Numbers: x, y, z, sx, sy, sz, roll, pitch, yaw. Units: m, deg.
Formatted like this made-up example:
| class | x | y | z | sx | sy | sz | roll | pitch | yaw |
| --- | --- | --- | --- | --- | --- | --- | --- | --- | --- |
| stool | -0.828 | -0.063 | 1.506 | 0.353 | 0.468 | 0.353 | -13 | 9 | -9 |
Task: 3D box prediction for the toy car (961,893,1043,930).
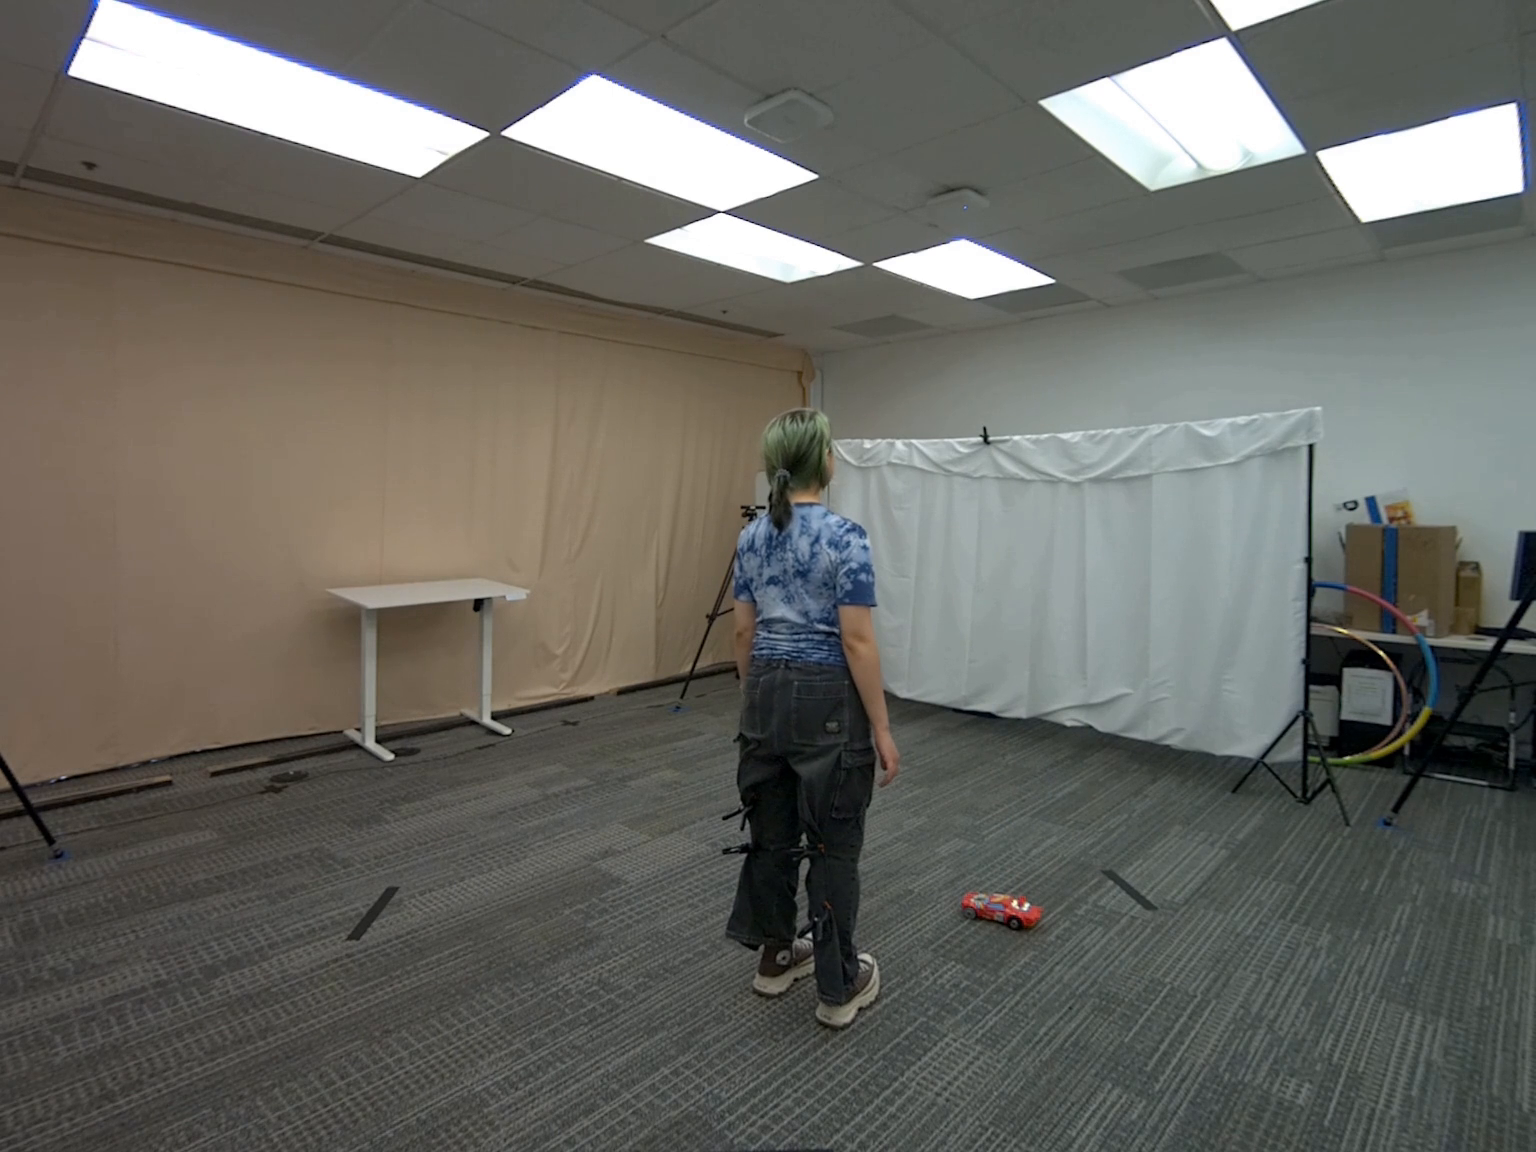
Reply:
| class | x | y | z | sx | sy | sz | roll | pitch | yaw |
| --- | --- | --- | --- | --- | --- | --- | --- | --- | --- |
| toy car | 0.799 | 1.124 | 2.825 | 0.261 | 0.083 | 0.127 | -8 | 0 | 30 |
